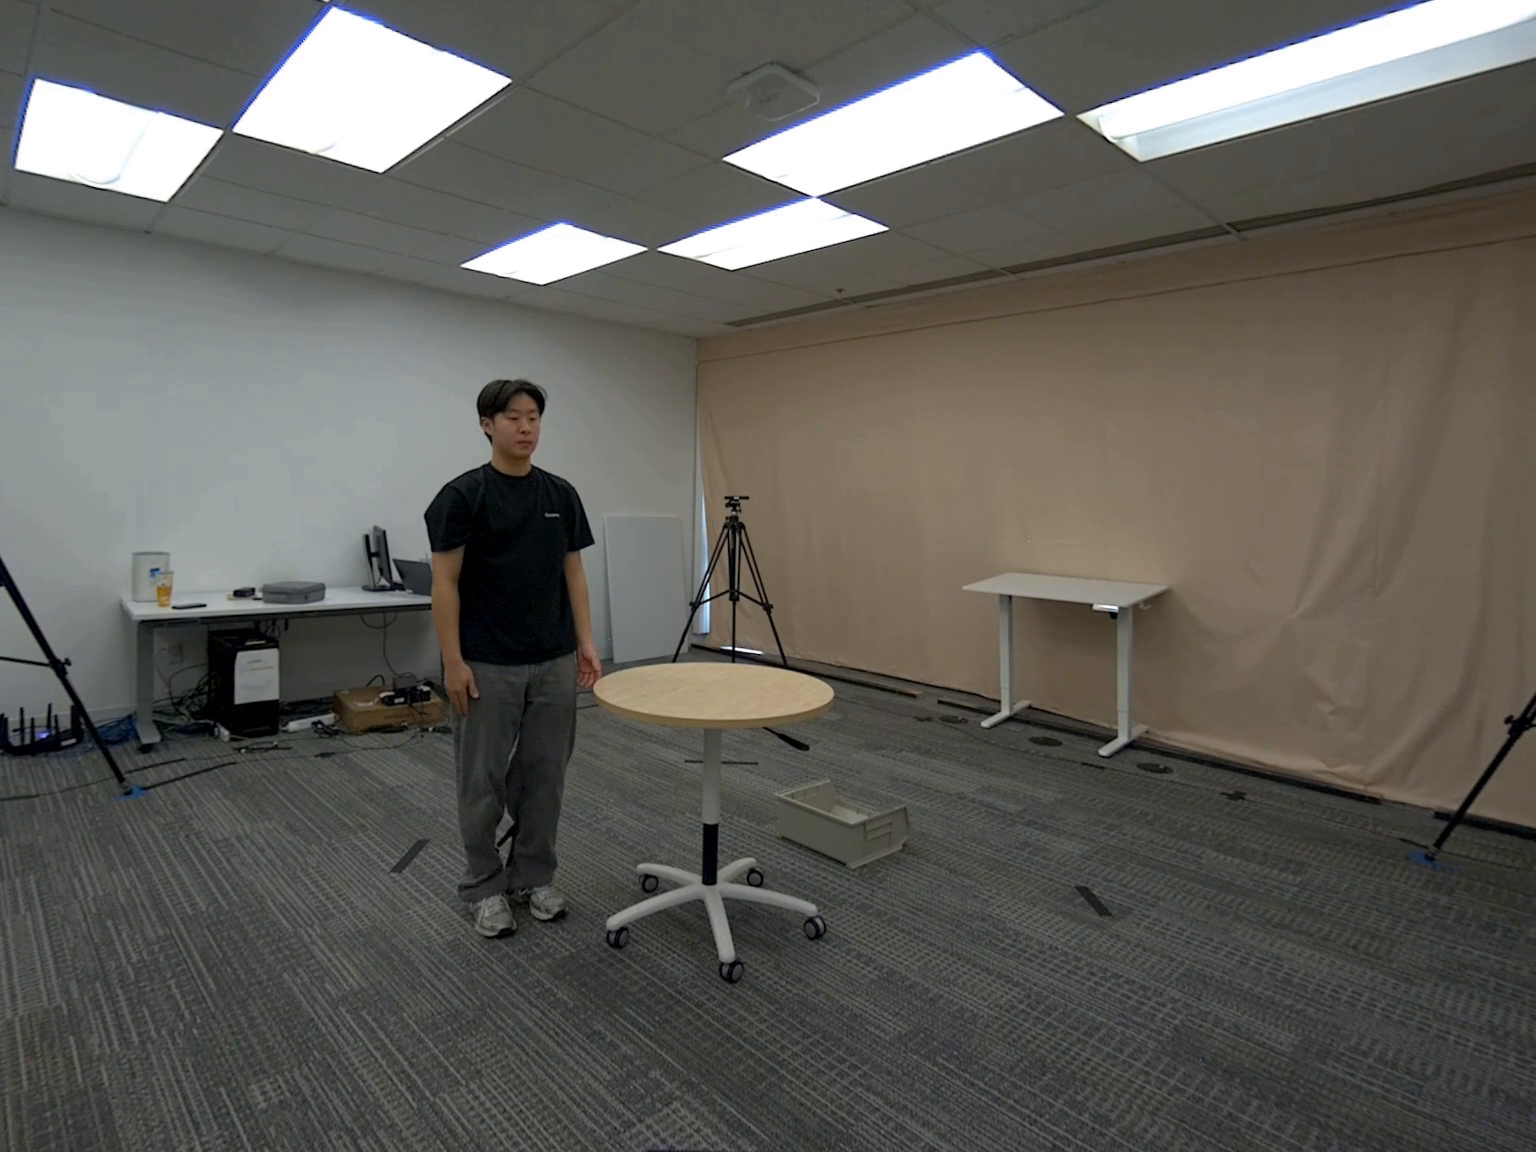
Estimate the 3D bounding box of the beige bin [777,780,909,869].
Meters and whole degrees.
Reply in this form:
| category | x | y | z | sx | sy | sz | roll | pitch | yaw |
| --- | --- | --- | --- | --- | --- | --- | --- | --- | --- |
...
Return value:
| category | x | y | z | sx | sy | sz | roll | pitch | yaw |
| --- | --- | --- | --- | --- | --- | --- | --- | --- | --- |
| beige bin | 0.297 | 0.996 | 3.442 | 0.369 | 0.188 | 0.433 | -4 | 7 | -43 |
